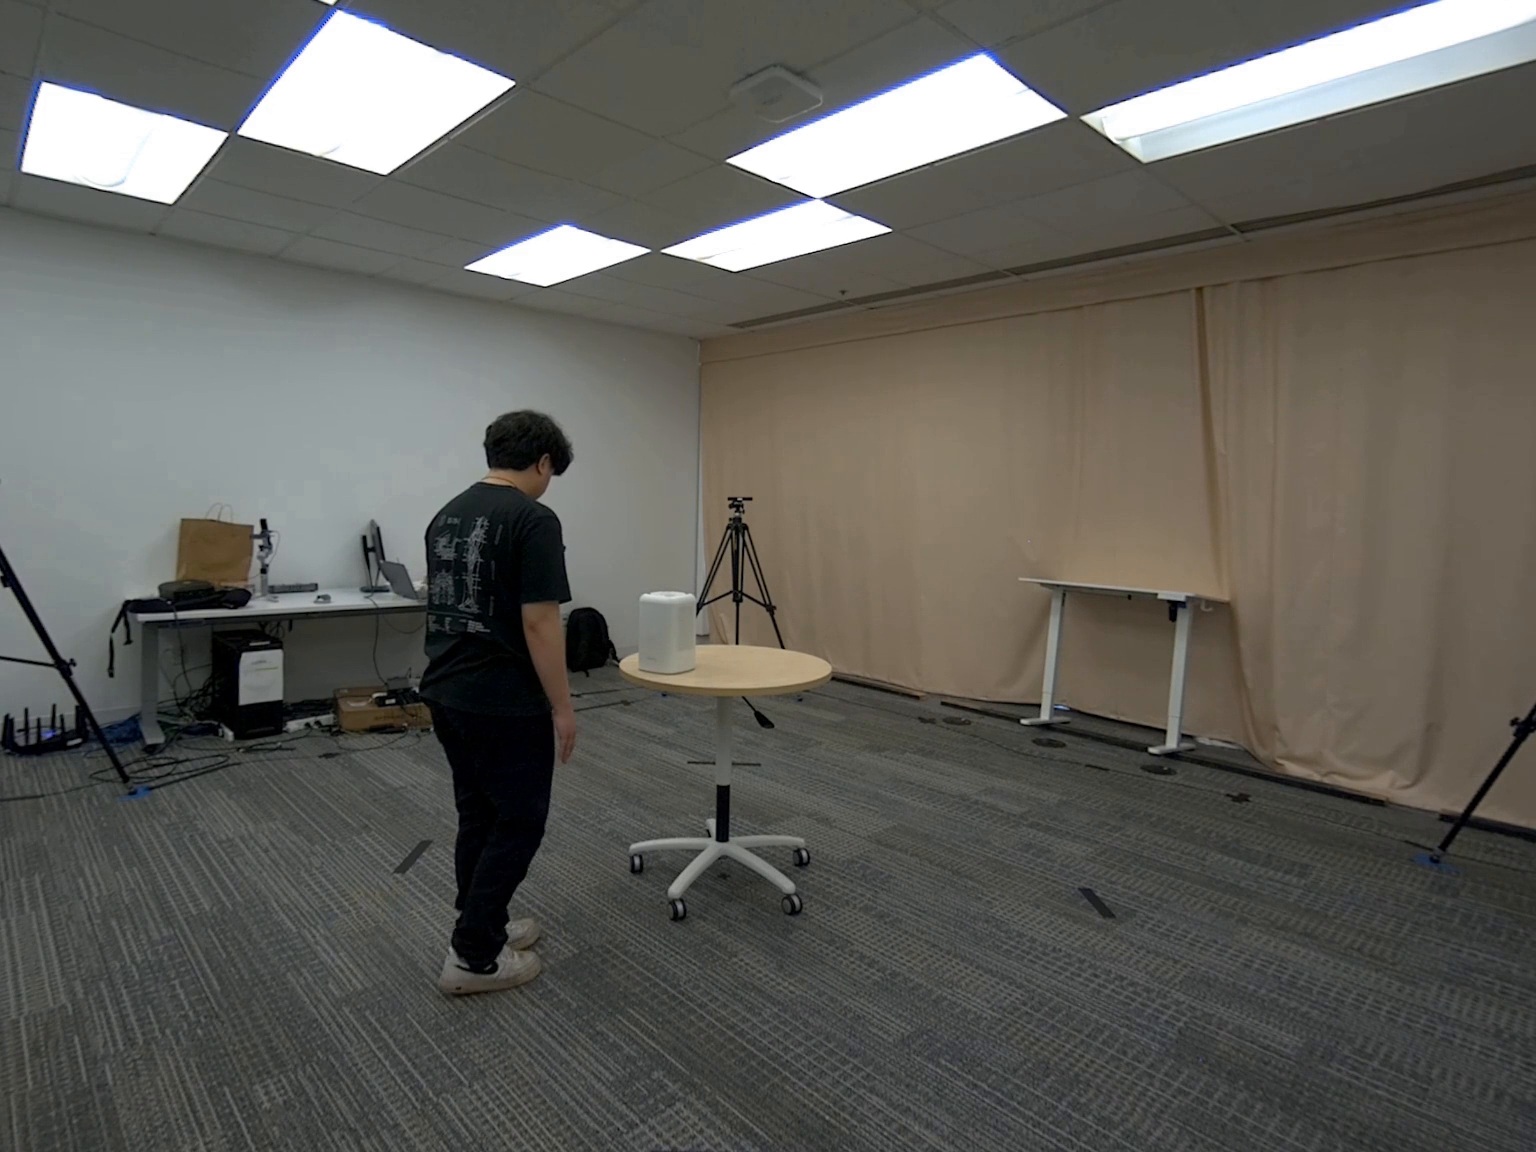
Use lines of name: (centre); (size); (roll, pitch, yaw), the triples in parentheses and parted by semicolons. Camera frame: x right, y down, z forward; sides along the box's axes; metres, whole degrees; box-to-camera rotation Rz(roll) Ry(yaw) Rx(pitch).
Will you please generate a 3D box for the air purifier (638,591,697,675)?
air purifier: (-0.359, 0.192, 2.934); (0.175, 0.264, 0.168); (3, 5, 33)
